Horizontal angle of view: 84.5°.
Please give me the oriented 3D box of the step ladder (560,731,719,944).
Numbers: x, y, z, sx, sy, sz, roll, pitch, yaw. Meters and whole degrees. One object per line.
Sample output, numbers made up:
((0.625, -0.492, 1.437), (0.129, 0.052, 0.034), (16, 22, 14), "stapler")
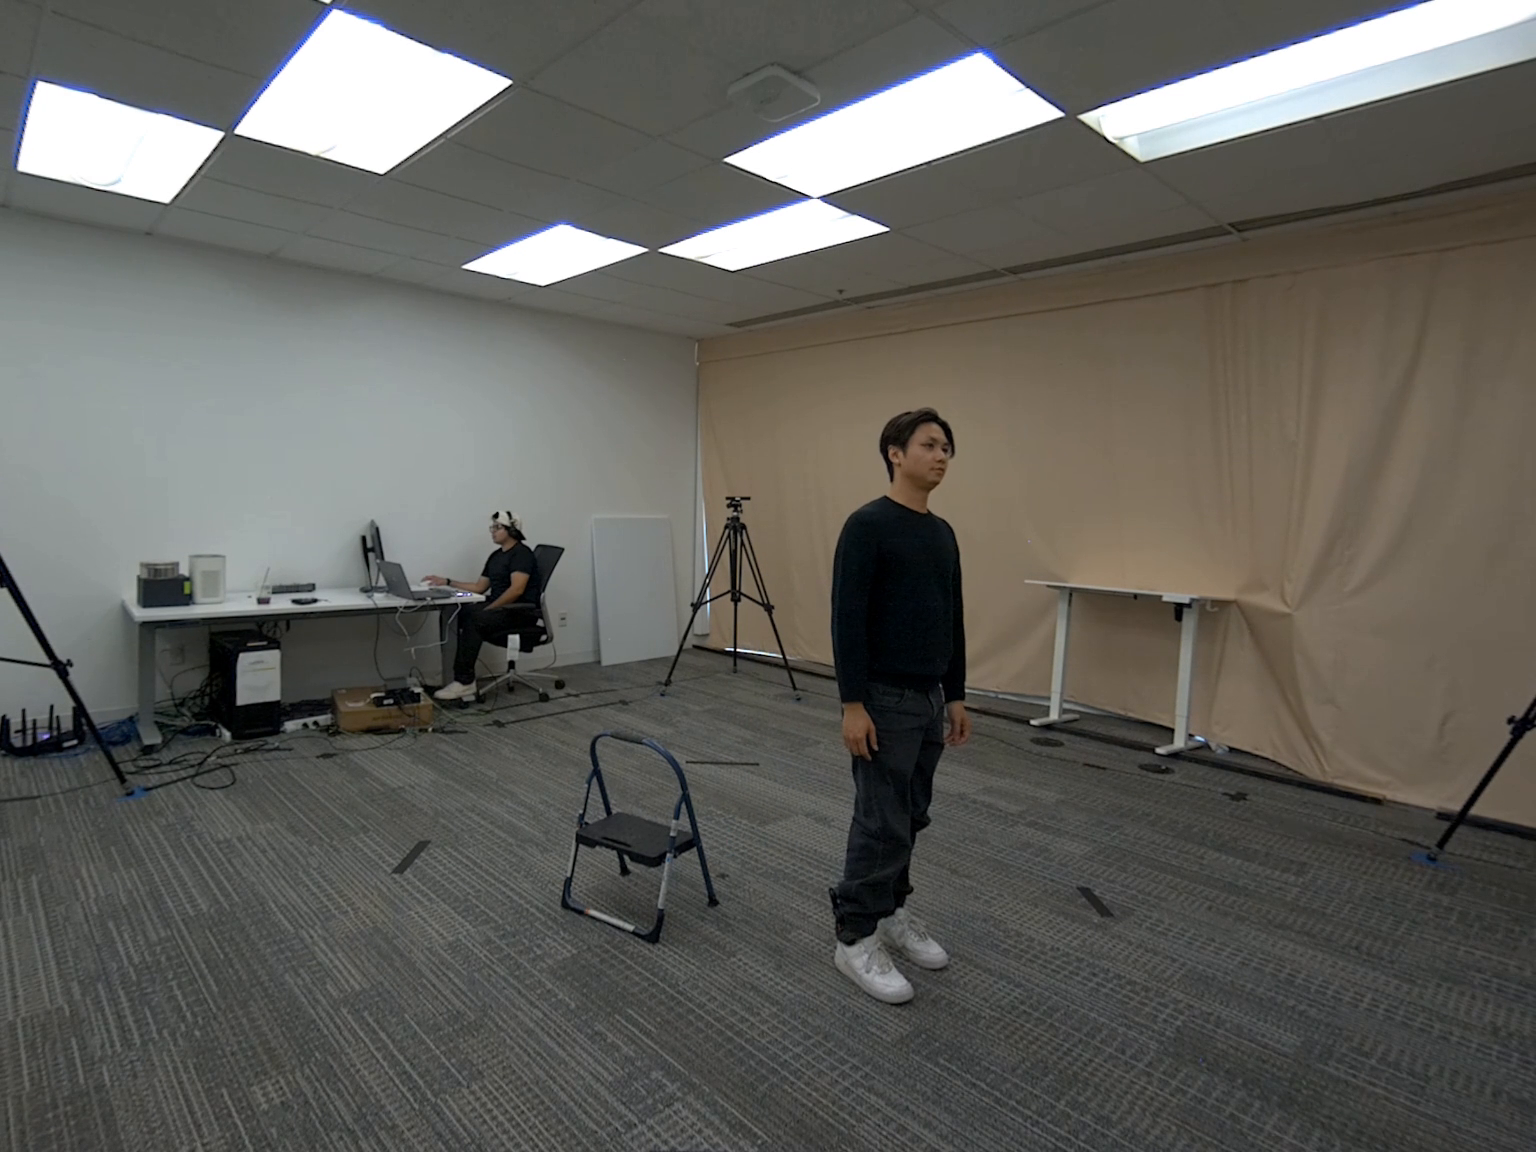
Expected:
((-0.435, 0.818, 2.852), (0.440, 0.605, 0.342), (3, 4, 32), "step ladder")
